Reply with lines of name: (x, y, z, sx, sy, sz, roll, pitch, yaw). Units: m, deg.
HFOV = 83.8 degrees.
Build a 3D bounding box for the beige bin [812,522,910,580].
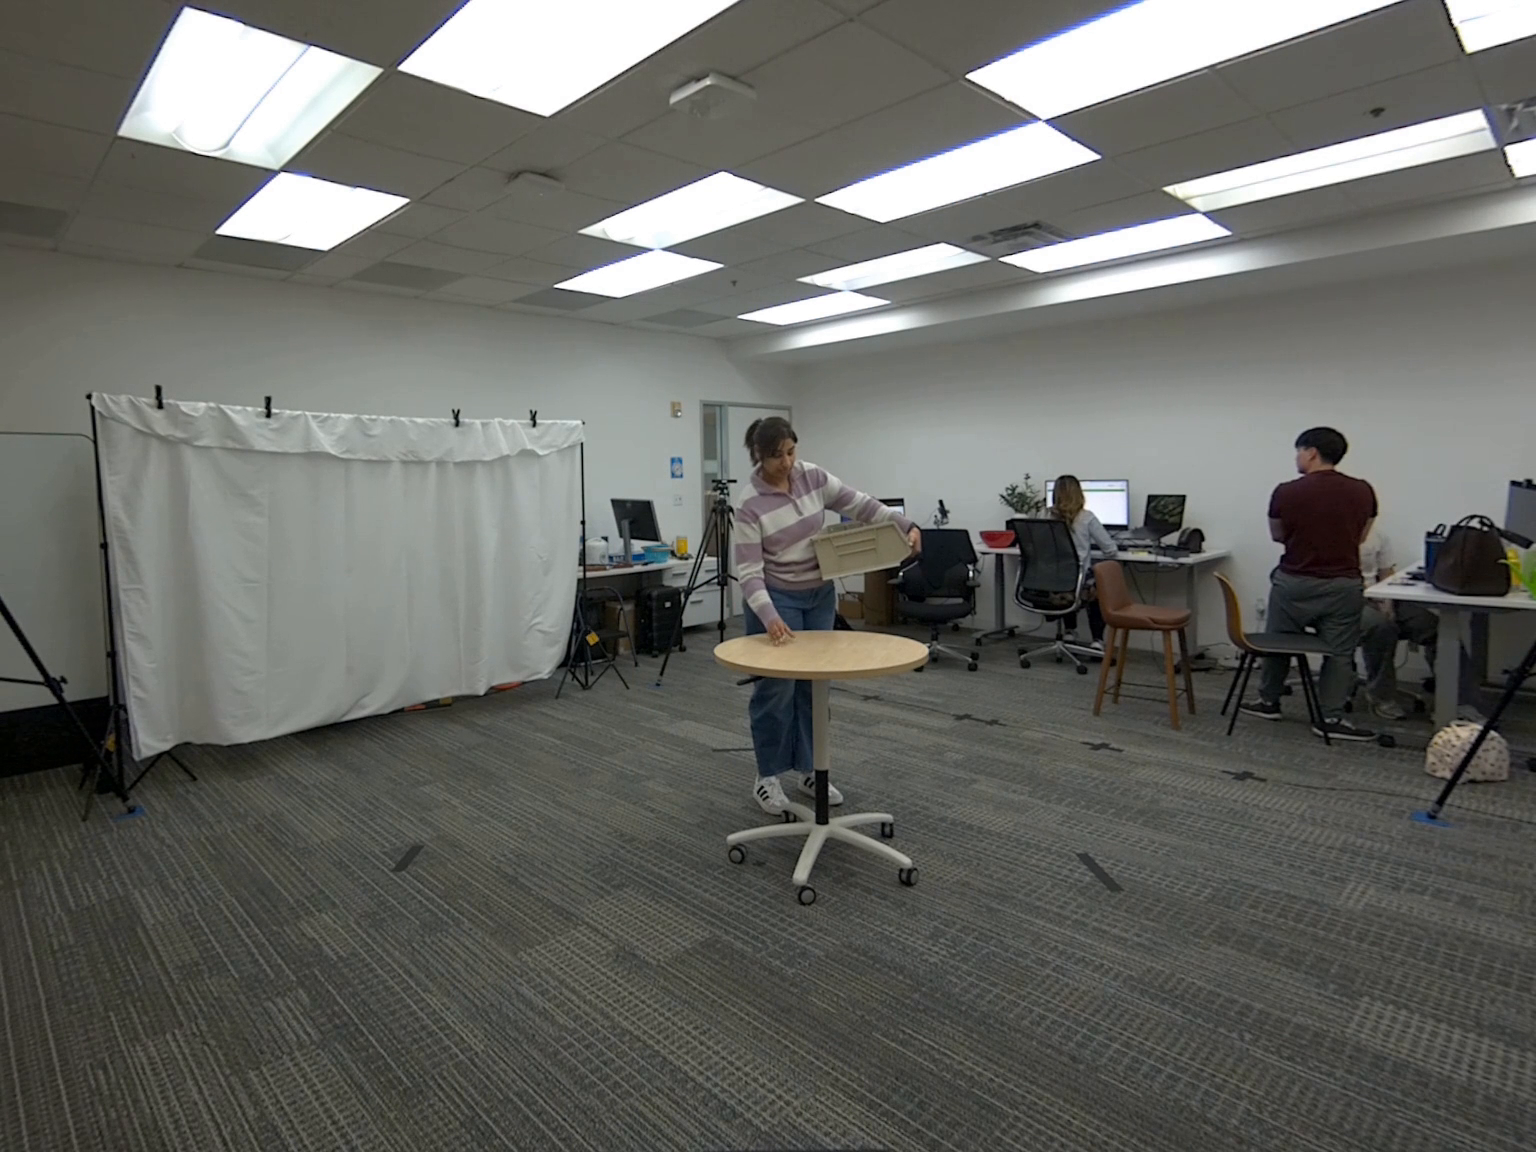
beige bin: (0.412, -0.124, 3.598, 0.382, 0.188, 0.419, -13, 5, 16)
